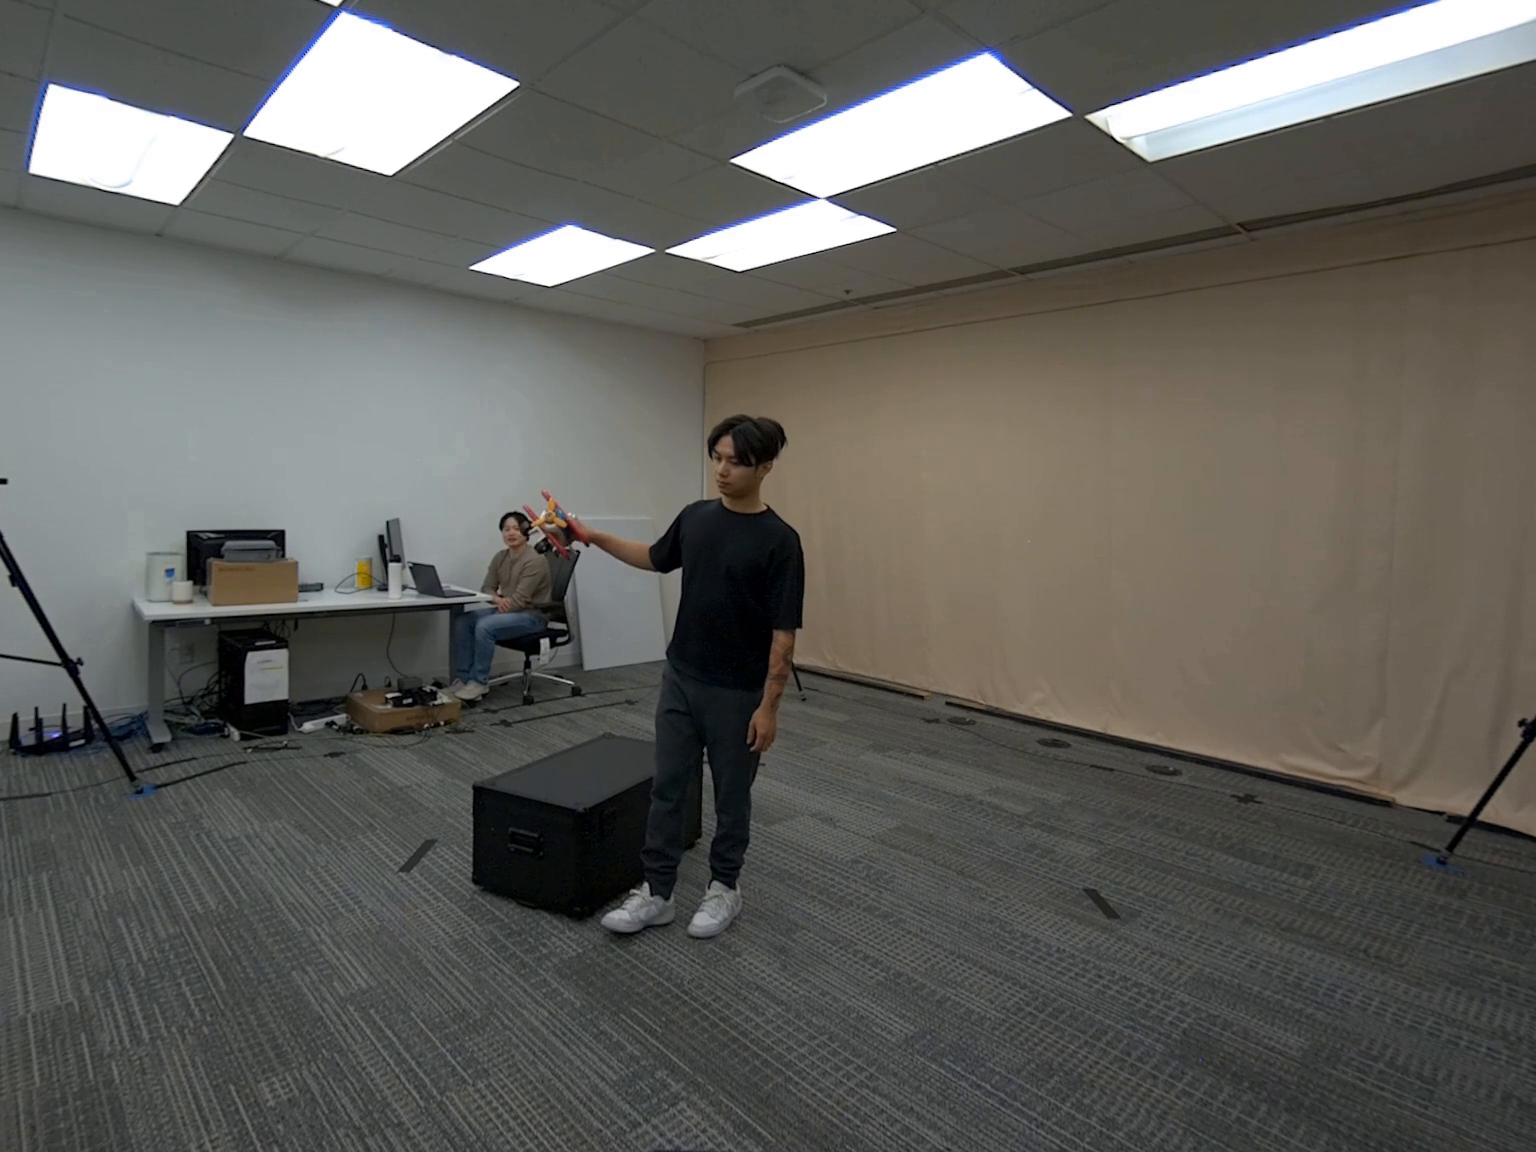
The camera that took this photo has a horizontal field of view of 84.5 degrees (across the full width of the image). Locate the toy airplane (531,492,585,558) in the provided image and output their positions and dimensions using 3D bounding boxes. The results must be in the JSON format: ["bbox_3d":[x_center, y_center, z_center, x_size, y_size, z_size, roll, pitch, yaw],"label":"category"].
[{"bbox_3d":[-0.743,-0.151,2.890,0.156,0.248,0.262,-42,12,3],"label":"toy airplane"}]
